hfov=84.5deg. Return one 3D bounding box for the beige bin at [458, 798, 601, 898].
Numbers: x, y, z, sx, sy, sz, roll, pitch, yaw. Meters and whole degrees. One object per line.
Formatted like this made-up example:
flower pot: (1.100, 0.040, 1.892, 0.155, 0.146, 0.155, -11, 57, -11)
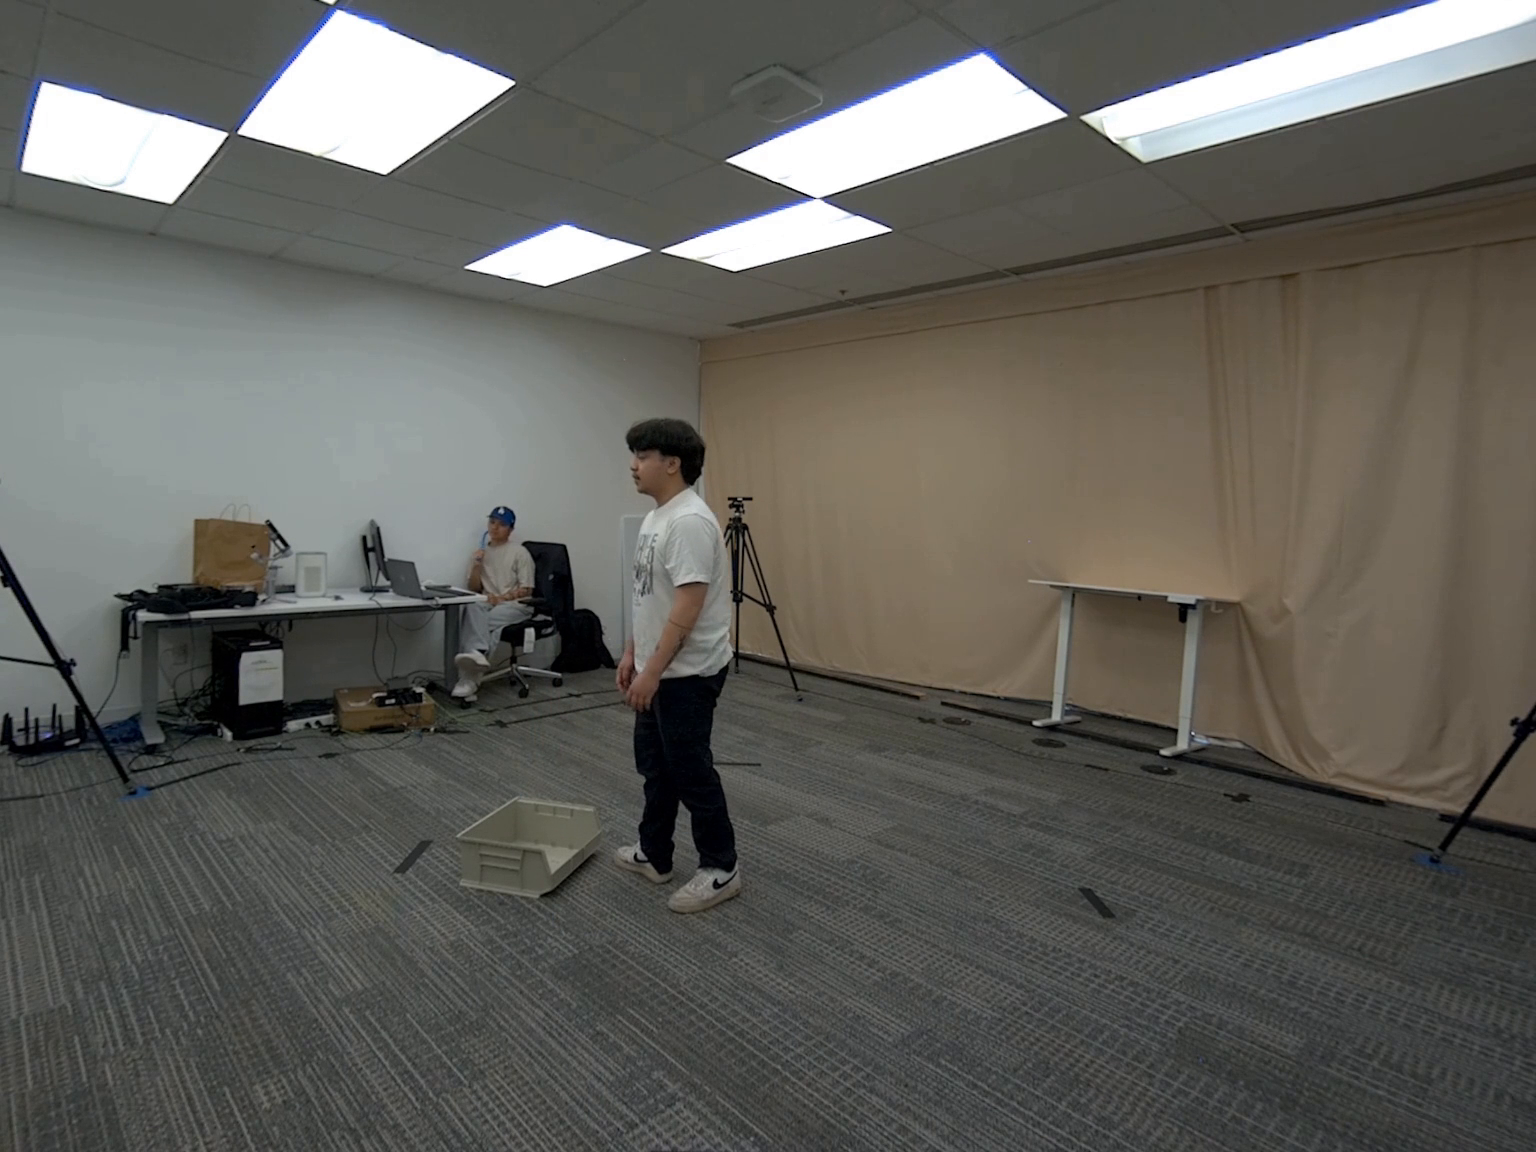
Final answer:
beige bin: (-0.880, 0.999, 3.127, 0.382, 0.188, 0.419, 1, 6, 14)
